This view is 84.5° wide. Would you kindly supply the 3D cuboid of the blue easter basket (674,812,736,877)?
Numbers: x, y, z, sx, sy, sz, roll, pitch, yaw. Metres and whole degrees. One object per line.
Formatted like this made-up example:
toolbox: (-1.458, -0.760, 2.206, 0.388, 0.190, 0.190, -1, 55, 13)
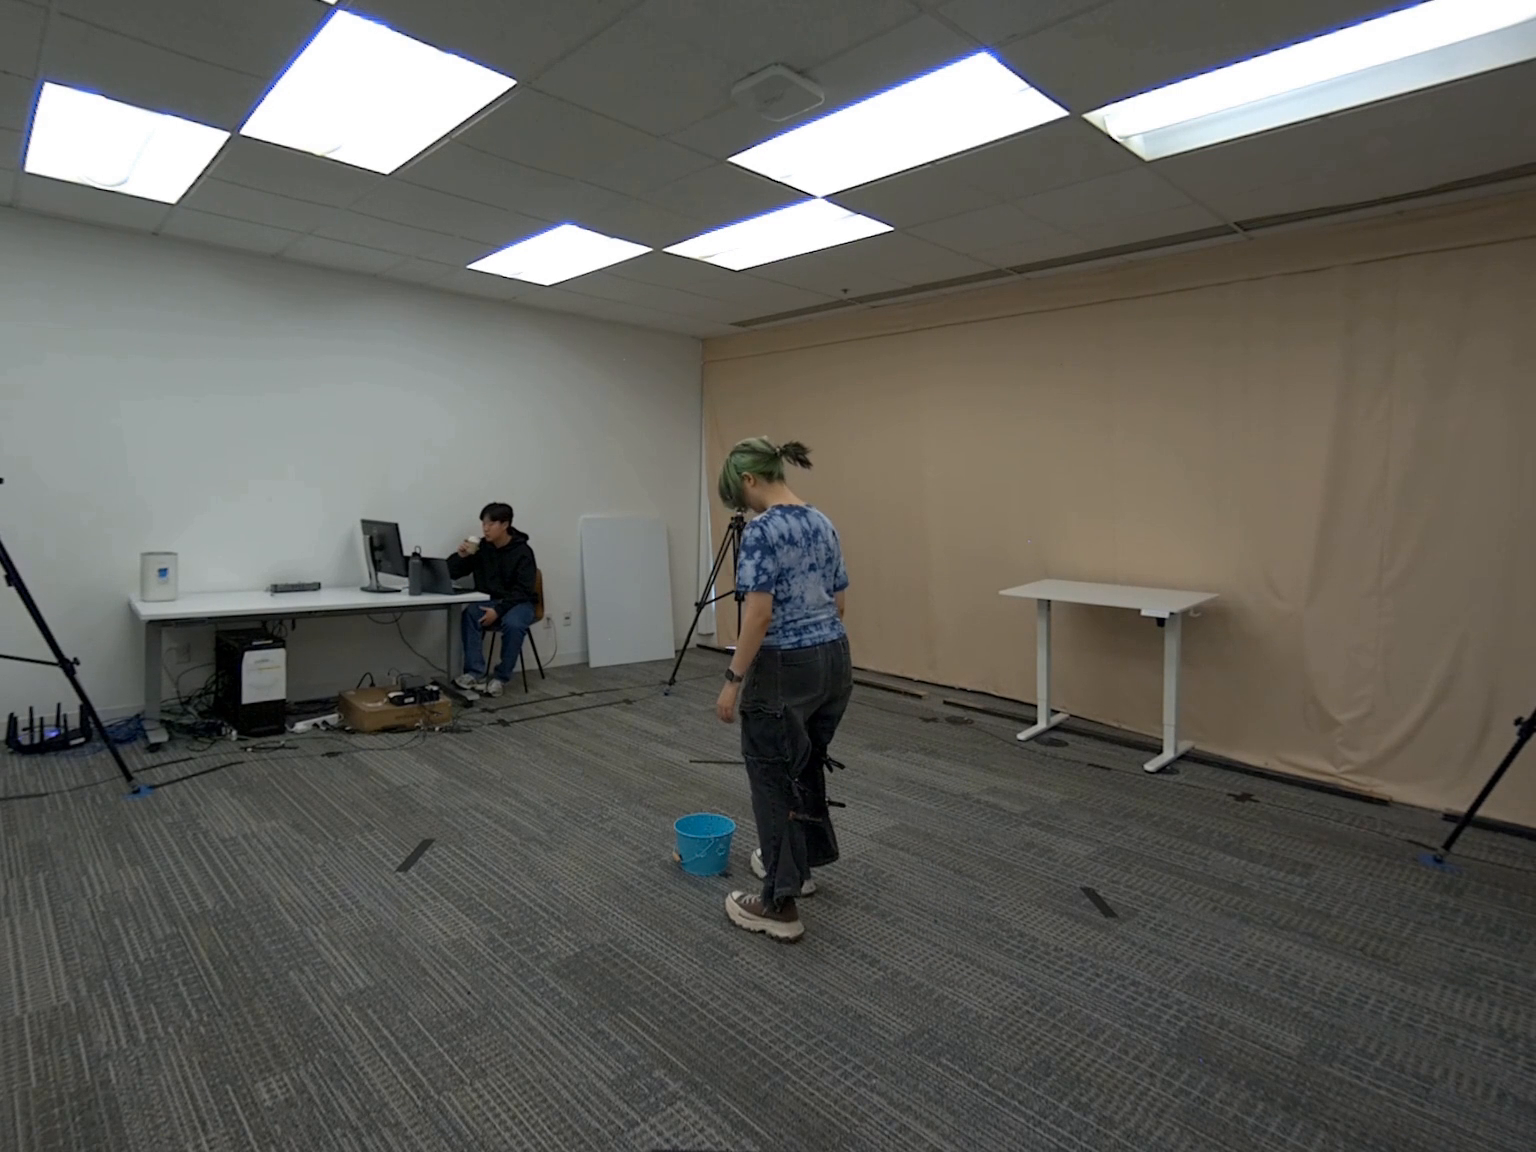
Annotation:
blue easter basket: (-0.246, 1.017, 3.185, 0.243, 0.155, 0.244, 1, 4, -1)
